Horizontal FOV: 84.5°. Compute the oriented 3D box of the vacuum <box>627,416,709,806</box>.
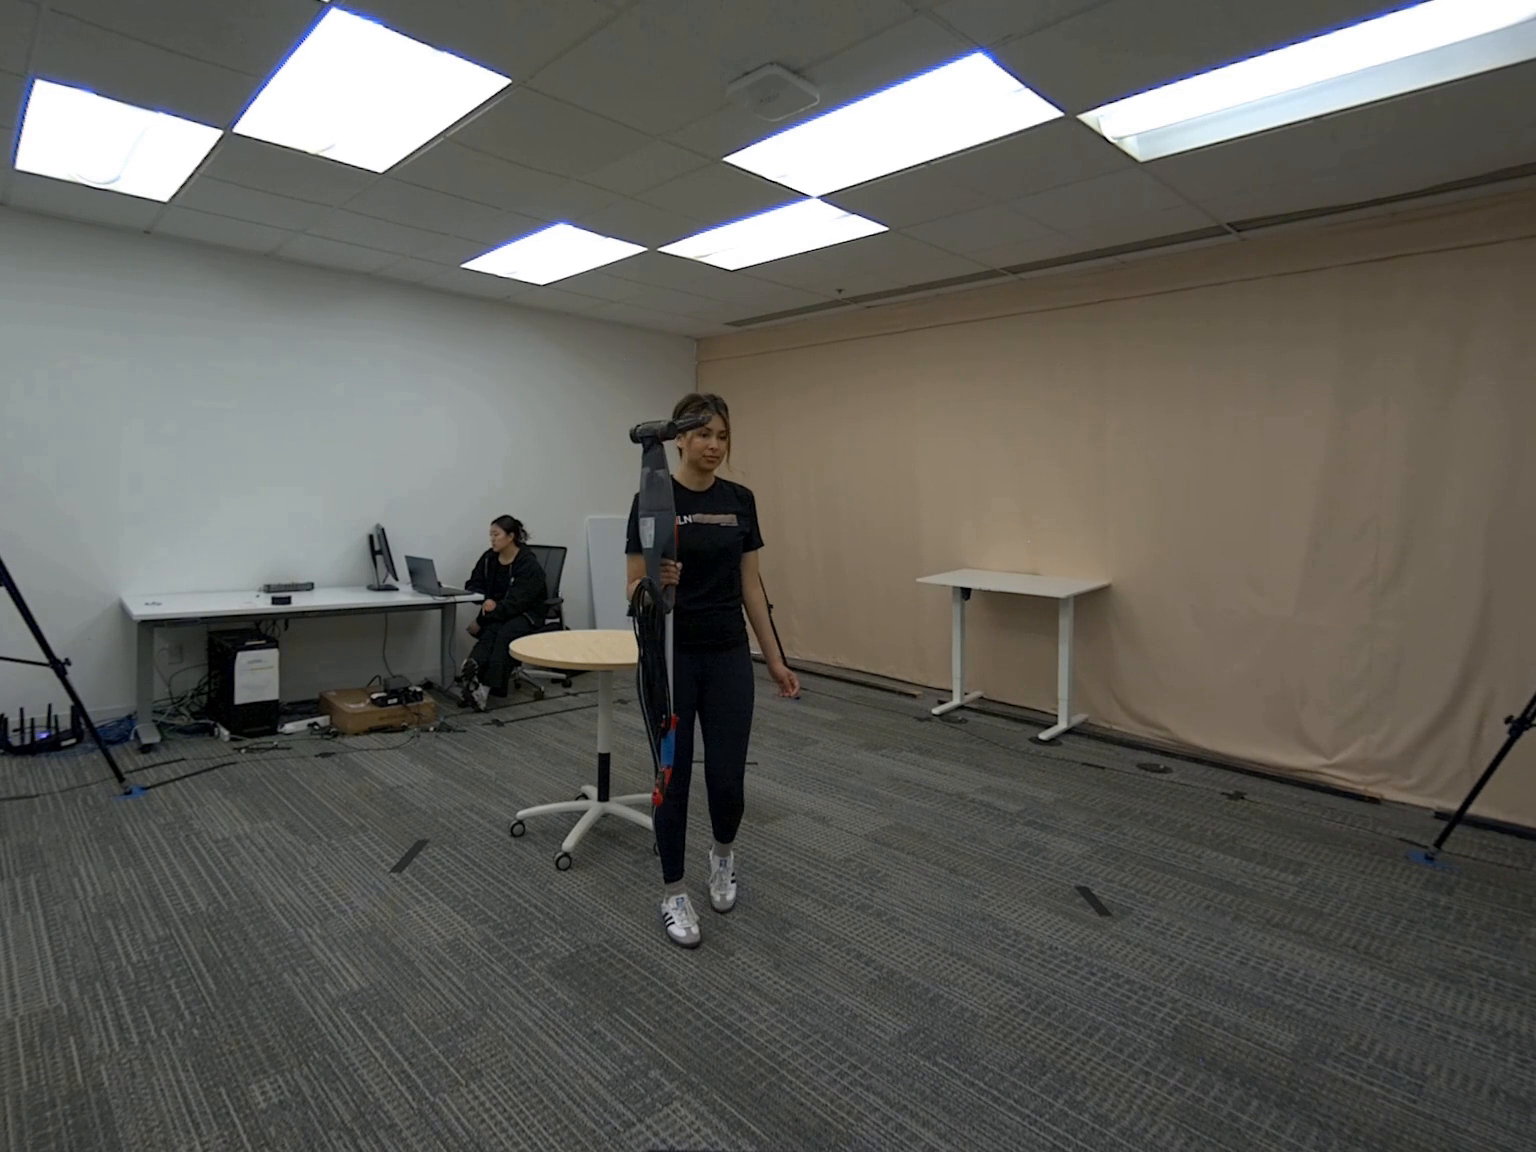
[{"bbox_3d":[-0.310,0.099,2.315,0.258,1.052,0.140,1,-4,33],"label":"vacuum"}]
